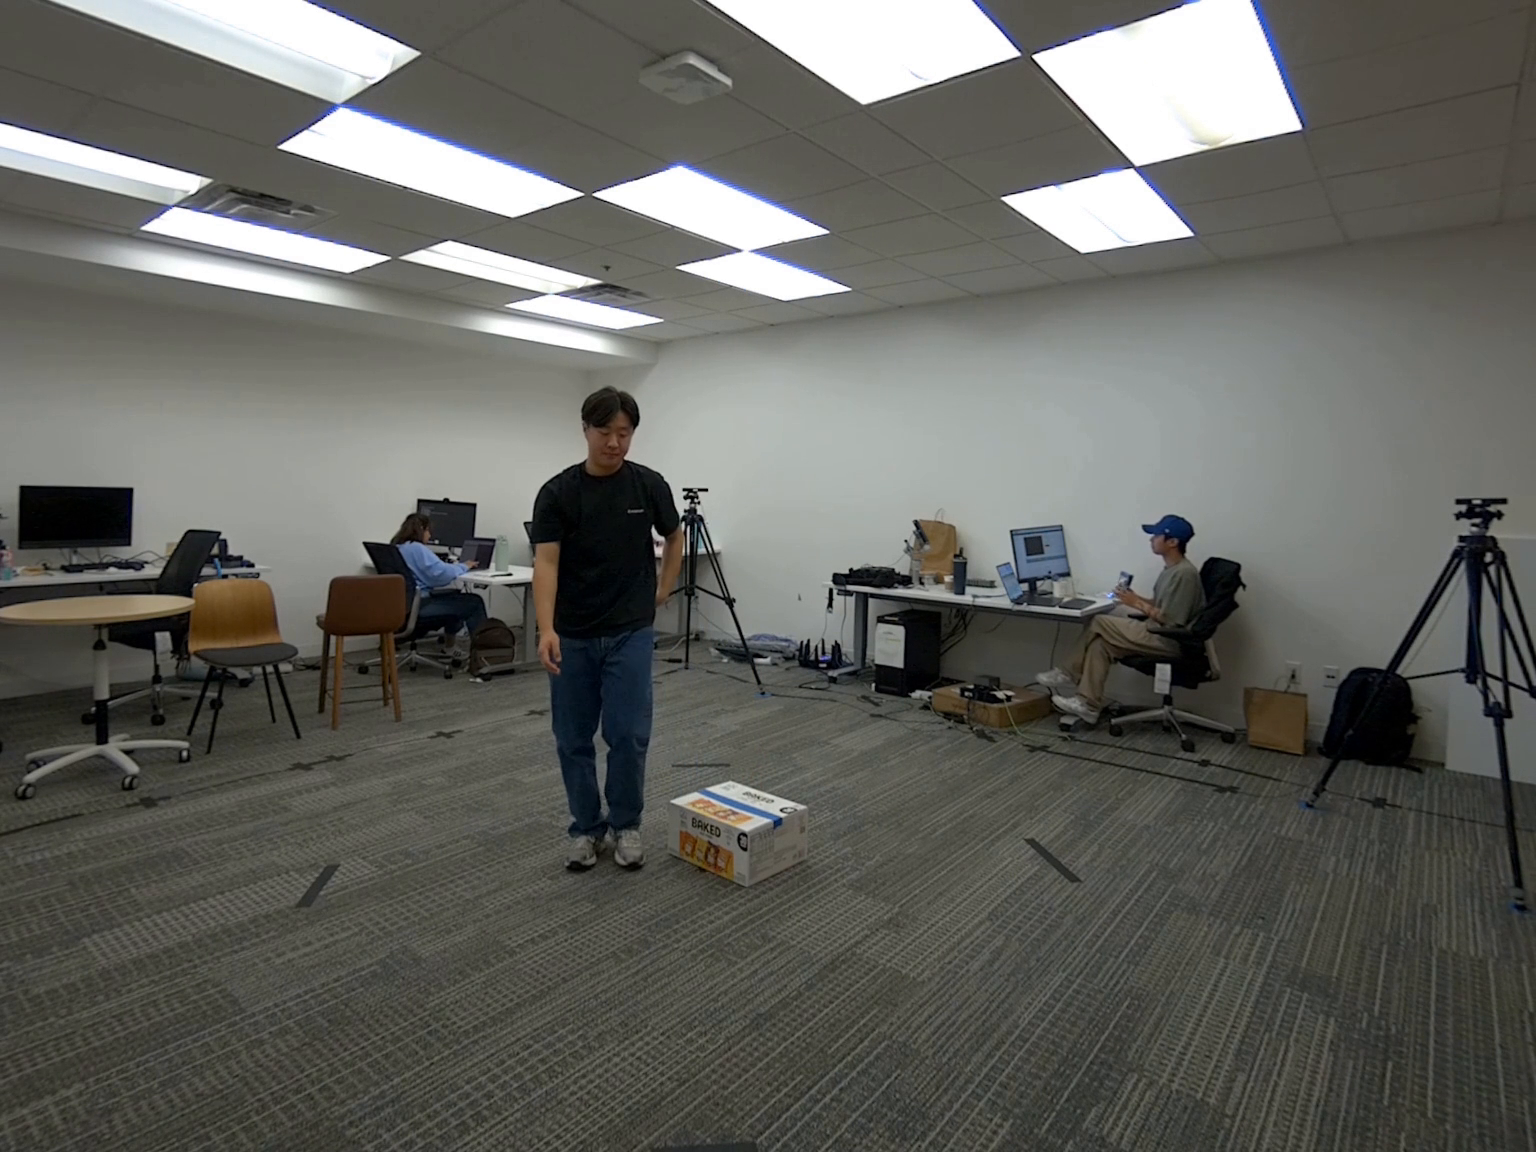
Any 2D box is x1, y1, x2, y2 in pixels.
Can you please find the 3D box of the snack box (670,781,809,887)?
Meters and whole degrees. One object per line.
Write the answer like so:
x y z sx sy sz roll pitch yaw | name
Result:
-0.124 0.961 3.212 0.419 0.205 0.330 6 7 42 | snack box
